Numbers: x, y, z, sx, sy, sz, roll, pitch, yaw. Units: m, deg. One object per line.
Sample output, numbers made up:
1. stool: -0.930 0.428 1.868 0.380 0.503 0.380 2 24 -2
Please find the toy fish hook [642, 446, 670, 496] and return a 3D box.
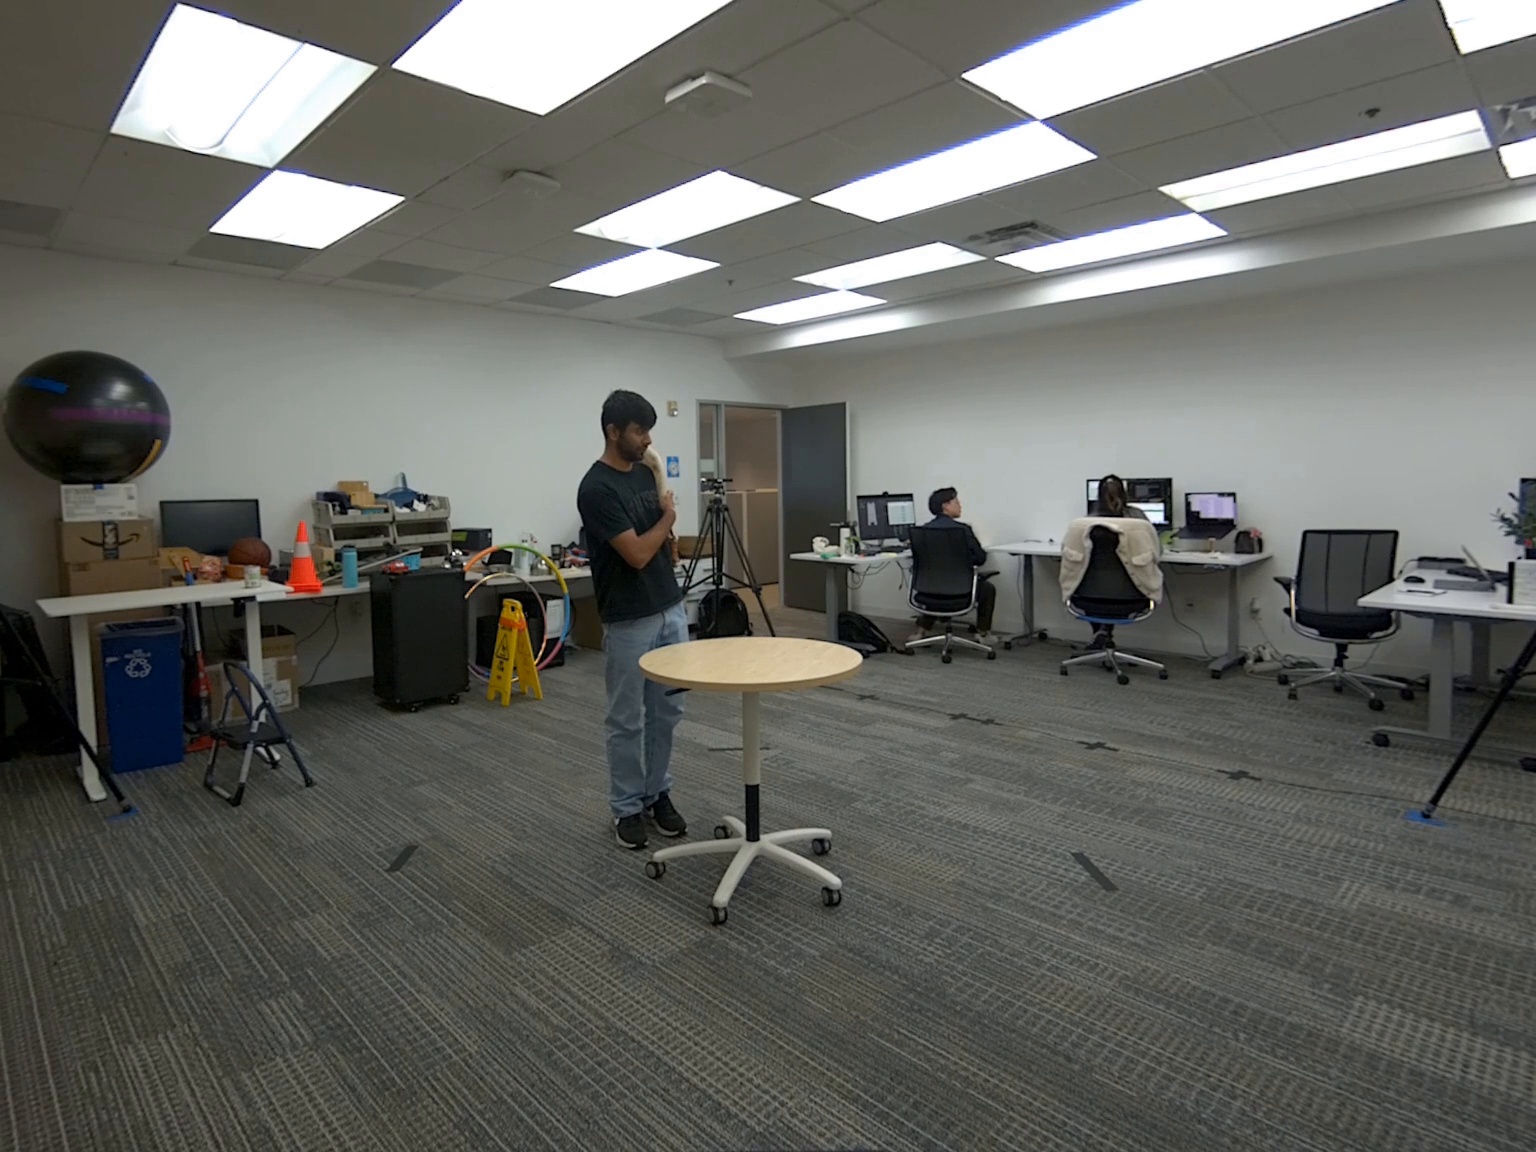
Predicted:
1. toy fish hook: -0.486 -0.270 3.449 0.229 0.506 0.047 -13 1 33
